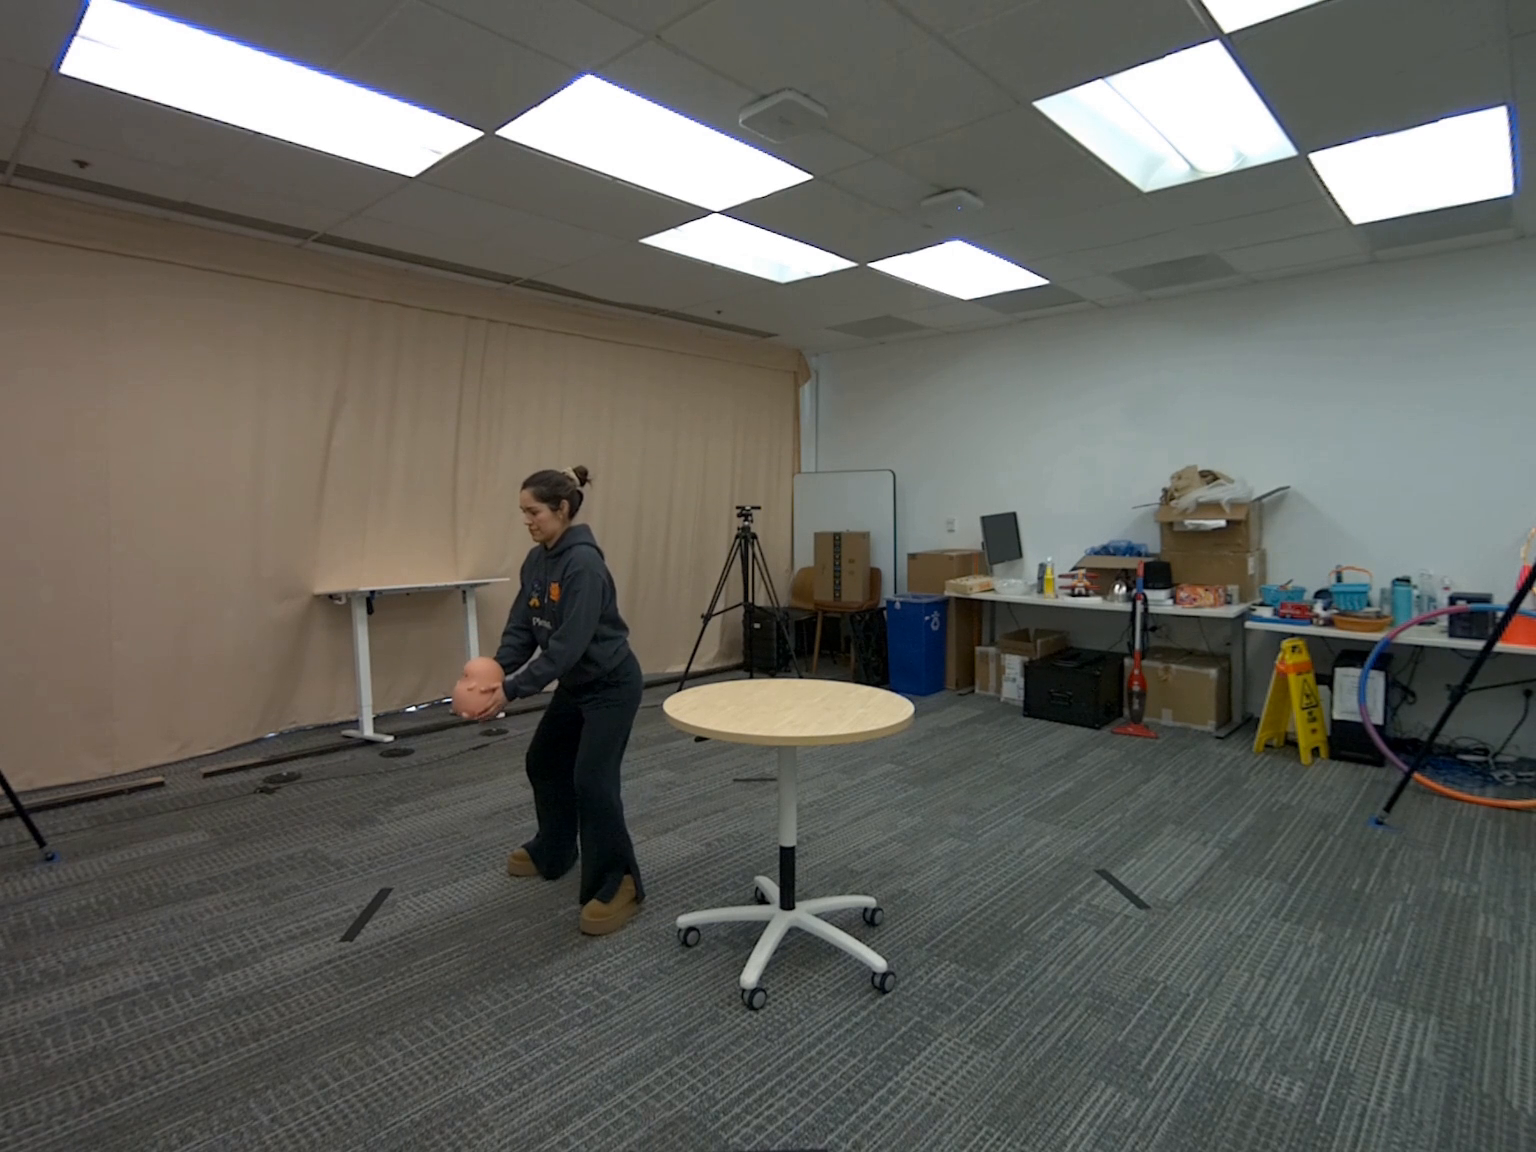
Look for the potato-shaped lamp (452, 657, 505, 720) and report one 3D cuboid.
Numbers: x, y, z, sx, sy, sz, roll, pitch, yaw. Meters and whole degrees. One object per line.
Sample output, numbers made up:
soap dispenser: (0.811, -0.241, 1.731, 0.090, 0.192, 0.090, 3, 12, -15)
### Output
potato-shaped lamp: (-0.949, 0.381, 2.827, 0.166, 0.198, 0.169, 2, -4, -37)
